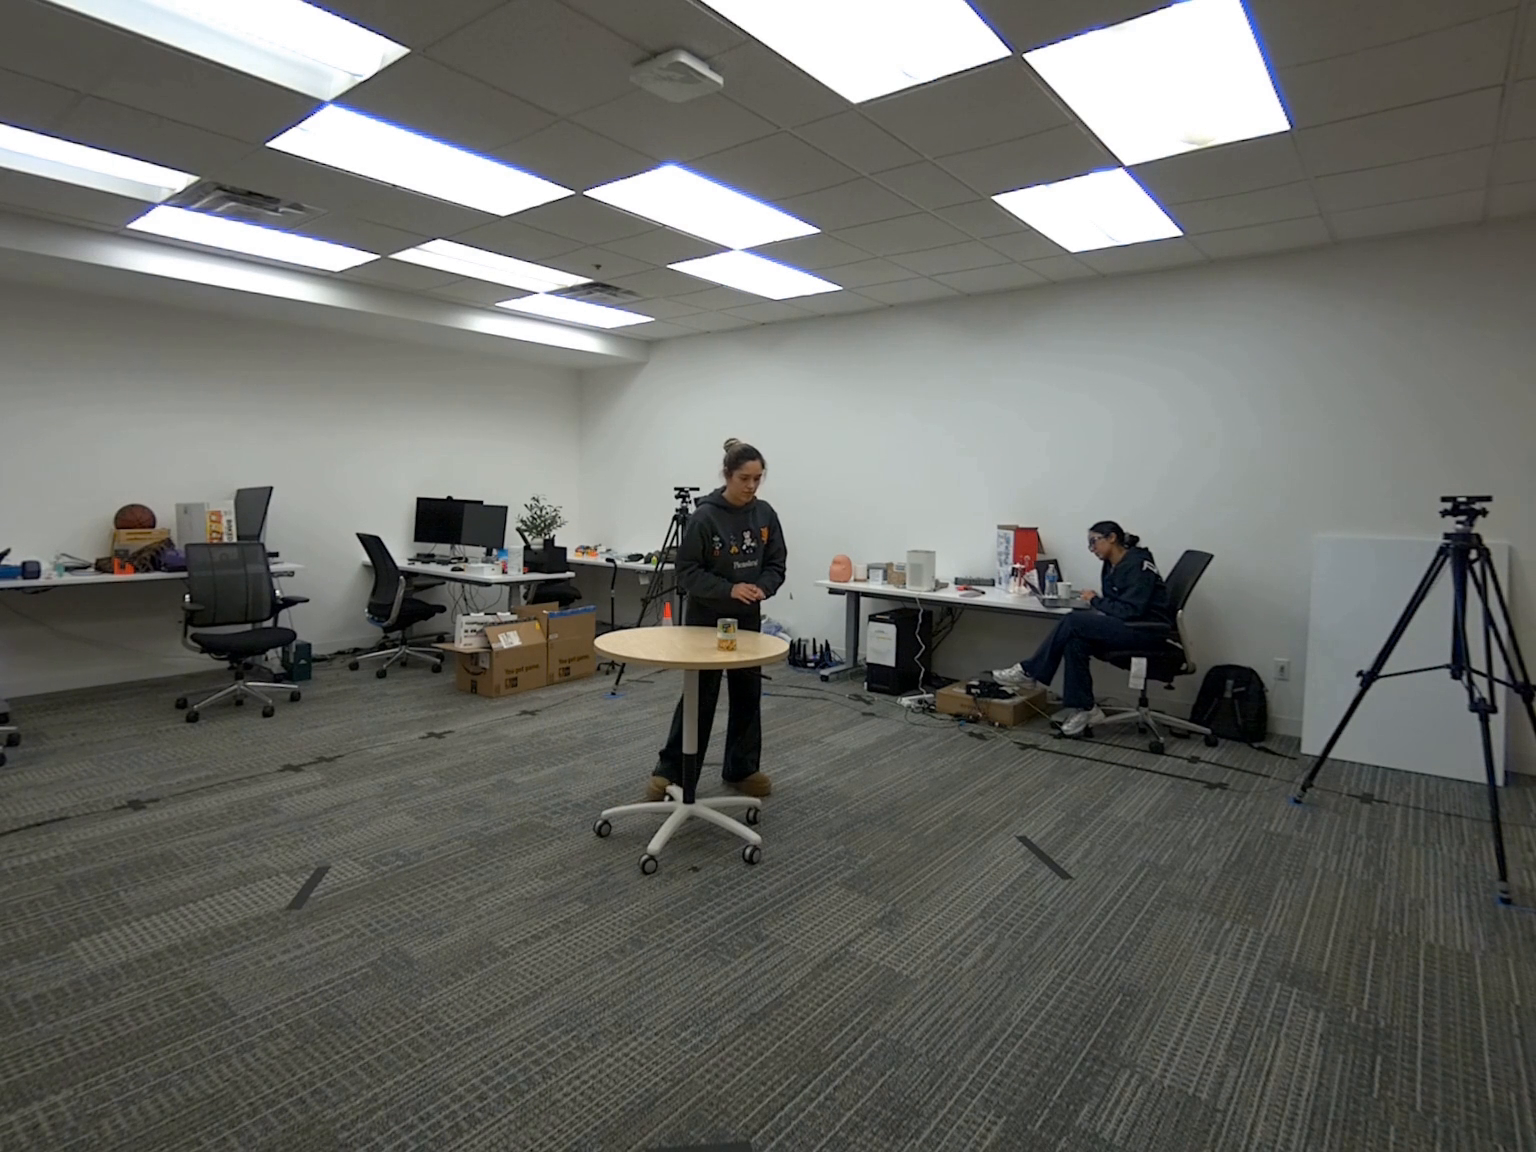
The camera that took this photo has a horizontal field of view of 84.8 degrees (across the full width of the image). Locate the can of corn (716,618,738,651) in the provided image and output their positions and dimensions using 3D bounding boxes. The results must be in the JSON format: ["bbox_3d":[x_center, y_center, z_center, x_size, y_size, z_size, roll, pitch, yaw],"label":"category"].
[{"bbox_3d":[-0.166,0.216,3.212,0.074,0.110,0.074,2,5,-2],"label":"can of corn"}]
